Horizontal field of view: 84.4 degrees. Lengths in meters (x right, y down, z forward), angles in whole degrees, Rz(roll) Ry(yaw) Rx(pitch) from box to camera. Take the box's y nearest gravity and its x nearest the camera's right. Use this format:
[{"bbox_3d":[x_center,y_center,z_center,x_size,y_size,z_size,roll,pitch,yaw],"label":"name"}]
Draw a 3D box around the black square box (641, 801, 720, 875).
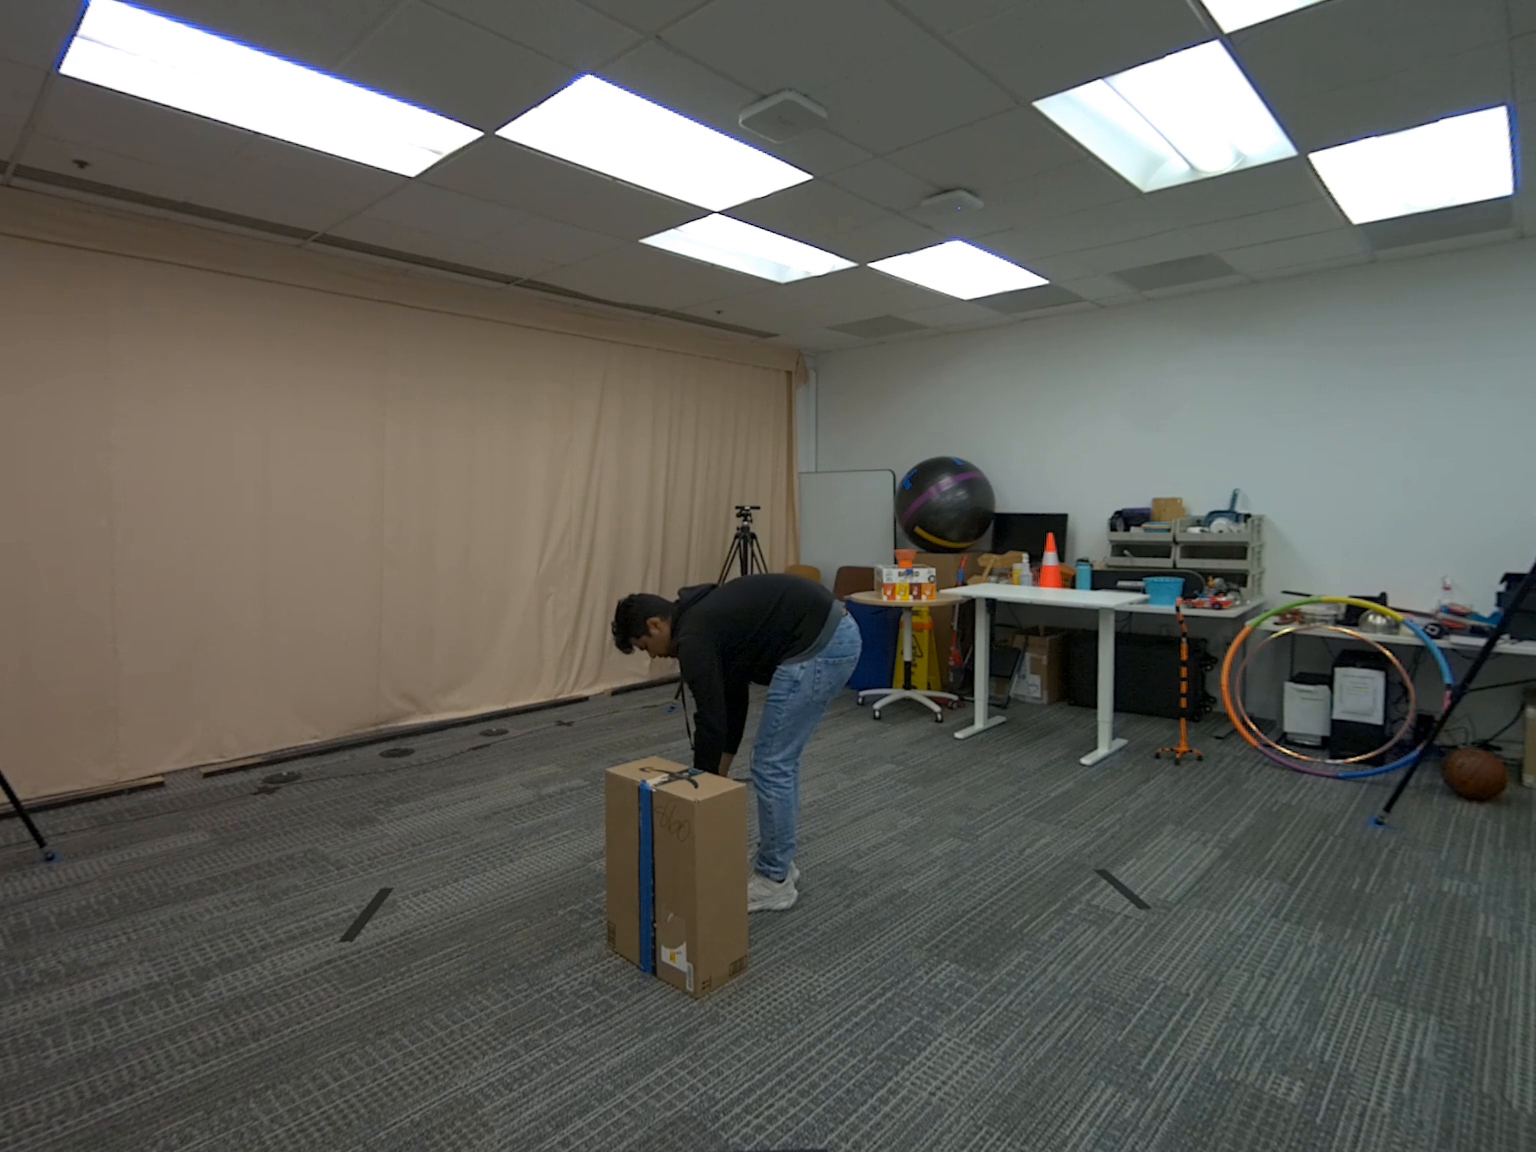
[{"bbox_3d":[-0.324,0.966,3.146,0.221,0.155,0.224,4,5,17],"label":"black square box"}]
